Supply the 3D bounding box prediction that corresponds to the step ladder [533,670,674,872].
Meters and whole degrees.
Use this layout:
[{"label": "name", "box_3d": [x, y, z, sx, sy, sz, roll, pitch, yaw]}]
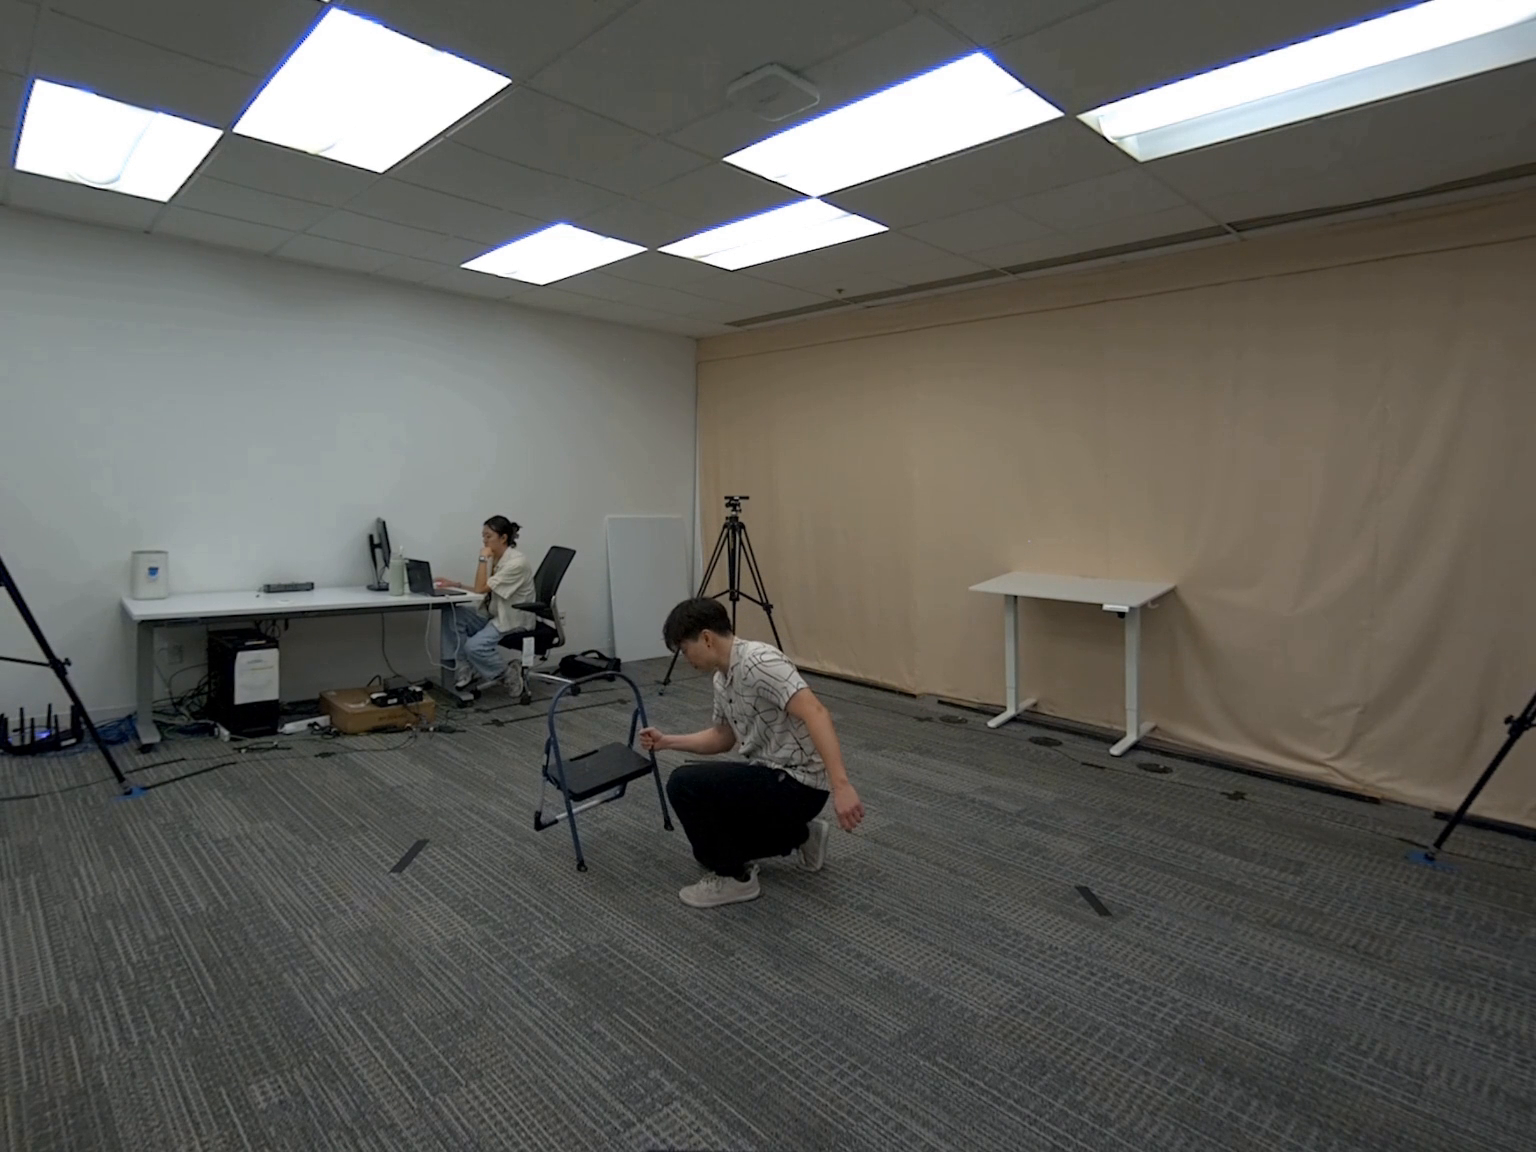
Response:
[{"label": "step ladder", "box_3d": [-0.625, 0.682, 3.170, 0.422, 0.600, 0.359, -11, 19, -43]}]
